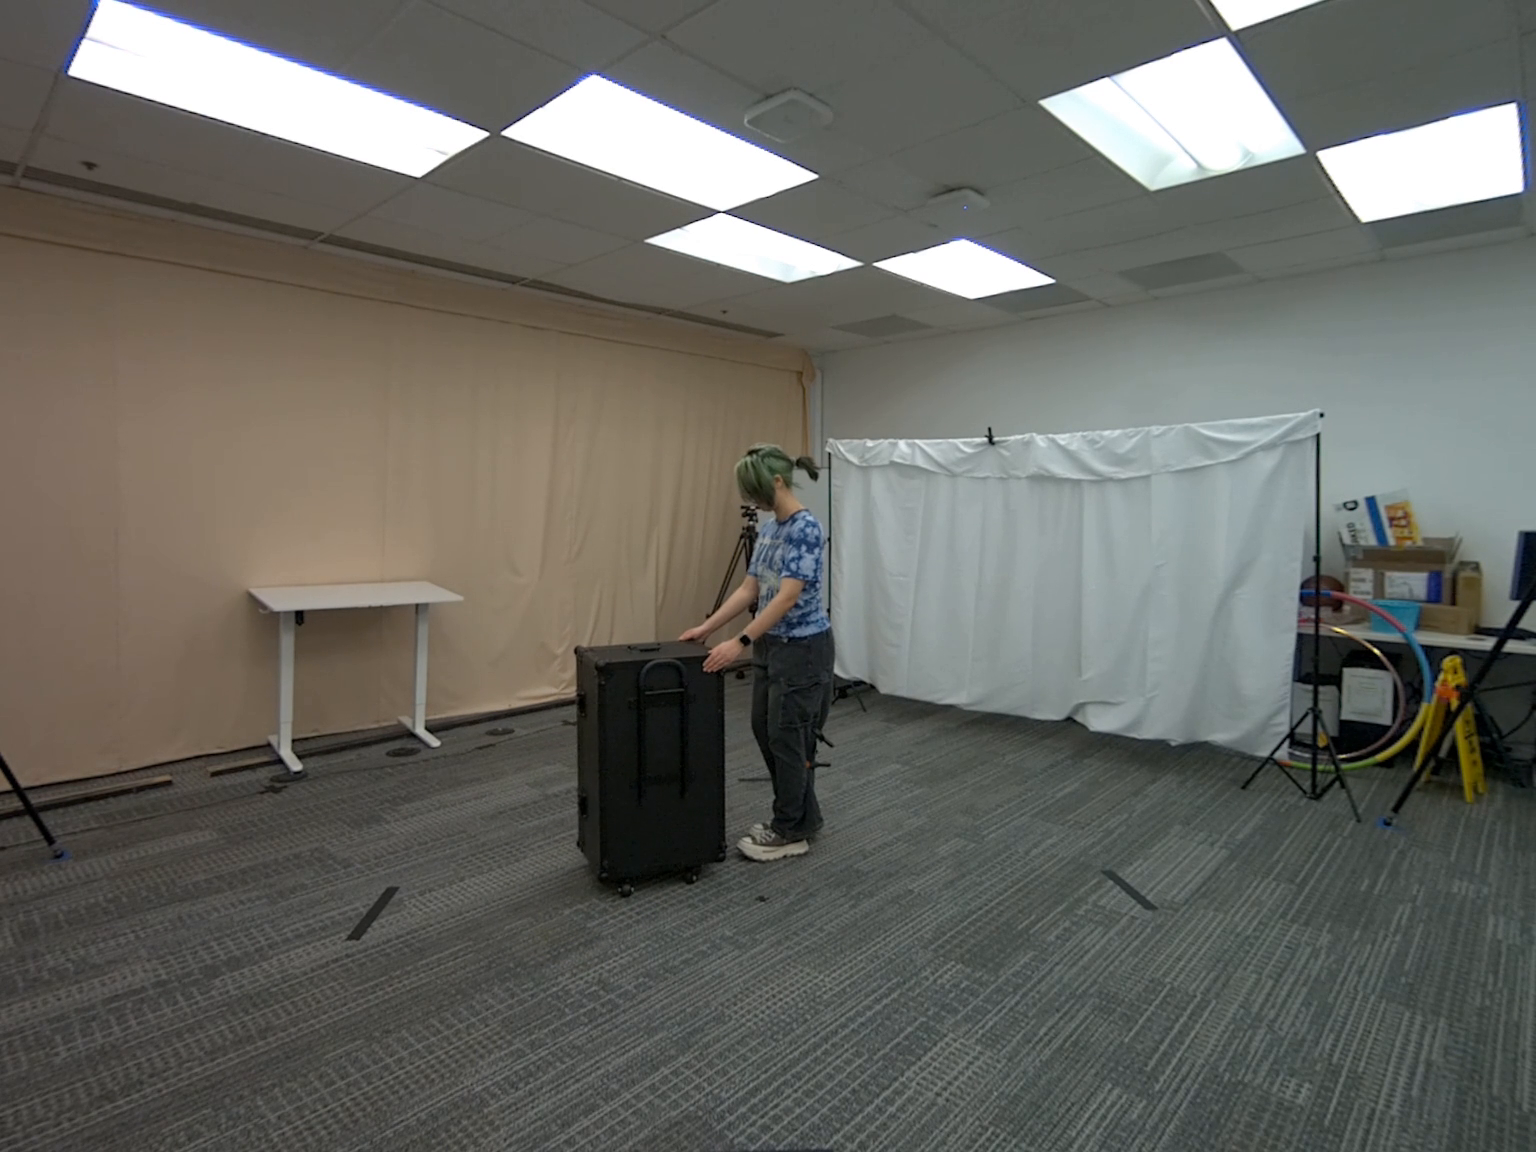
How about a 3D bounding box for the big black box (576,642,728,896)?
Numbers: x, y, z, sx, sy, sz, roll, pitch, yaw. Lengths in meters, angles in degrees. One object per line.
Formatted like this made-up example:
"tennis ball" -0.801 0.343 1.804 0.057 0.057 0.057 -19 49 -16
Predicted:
"big black box" -0.441 0.707 3.179 0.509 0.859 0.406 -2 4 -24
